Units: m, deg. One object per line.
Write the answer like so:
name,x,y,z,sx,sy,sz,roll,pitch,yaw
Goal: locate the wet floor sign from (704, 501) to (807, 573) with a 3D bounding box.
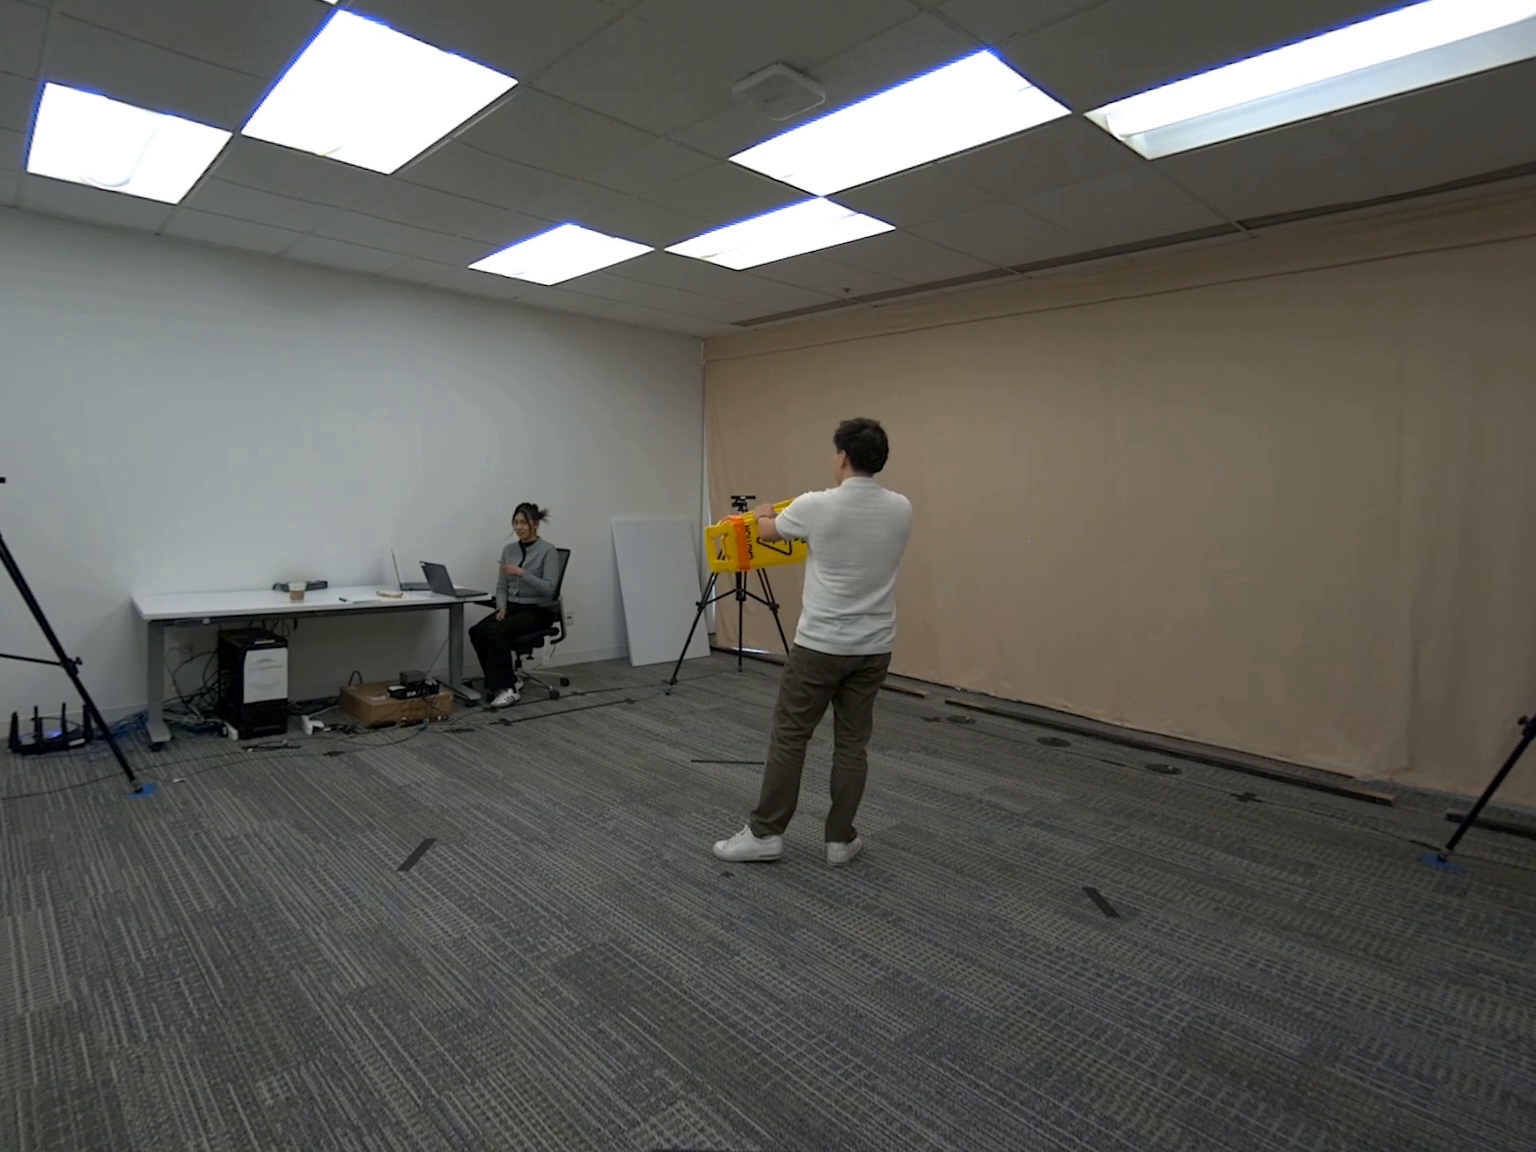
wet floor sign,-0.002,-0.171,3.722,0.636,0.280,0.296,-13,10,-30
